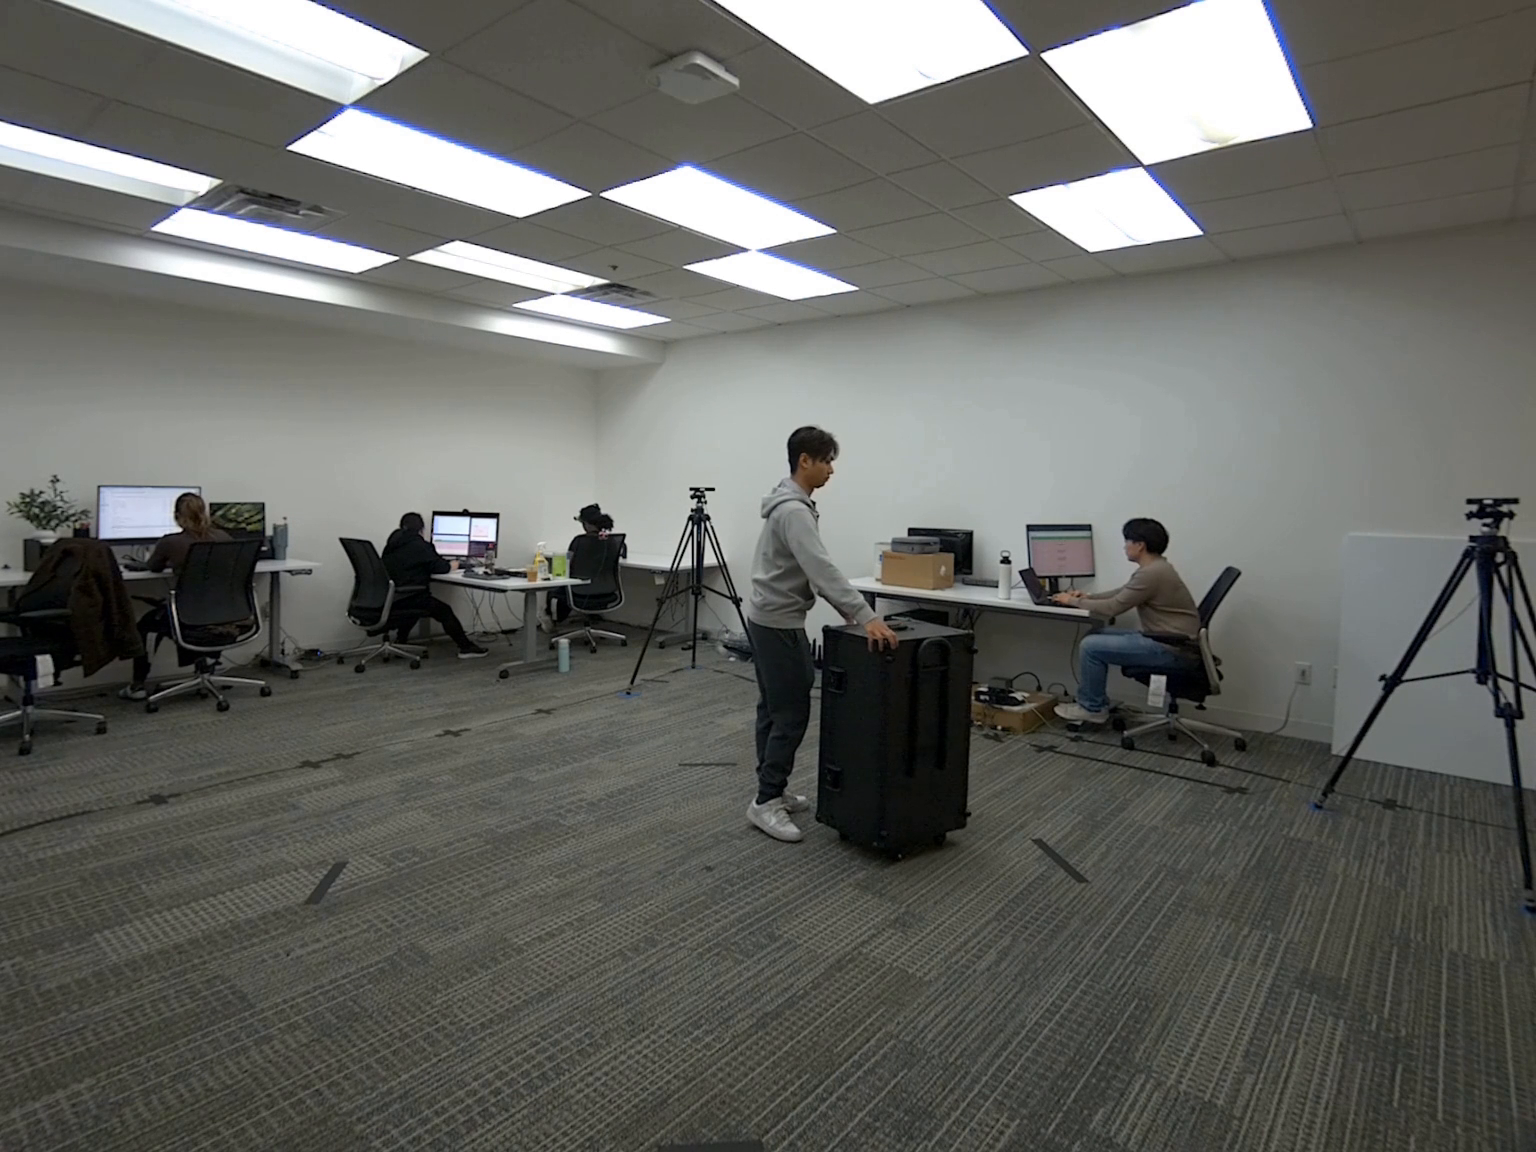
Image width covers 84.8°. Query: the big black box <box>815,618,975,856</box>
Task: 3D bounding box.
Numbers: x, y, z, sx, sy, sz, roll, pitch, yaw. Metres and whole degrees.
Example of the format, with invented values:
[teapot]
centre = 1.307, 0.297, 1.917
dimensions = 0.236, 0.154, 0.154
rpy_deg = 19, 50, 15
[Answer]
[big black box]
centre = 0.504, 0.631, 3.366
dimensions = 0.506, 0.858, 0.409
rpy_deg = -1, 5, -35
